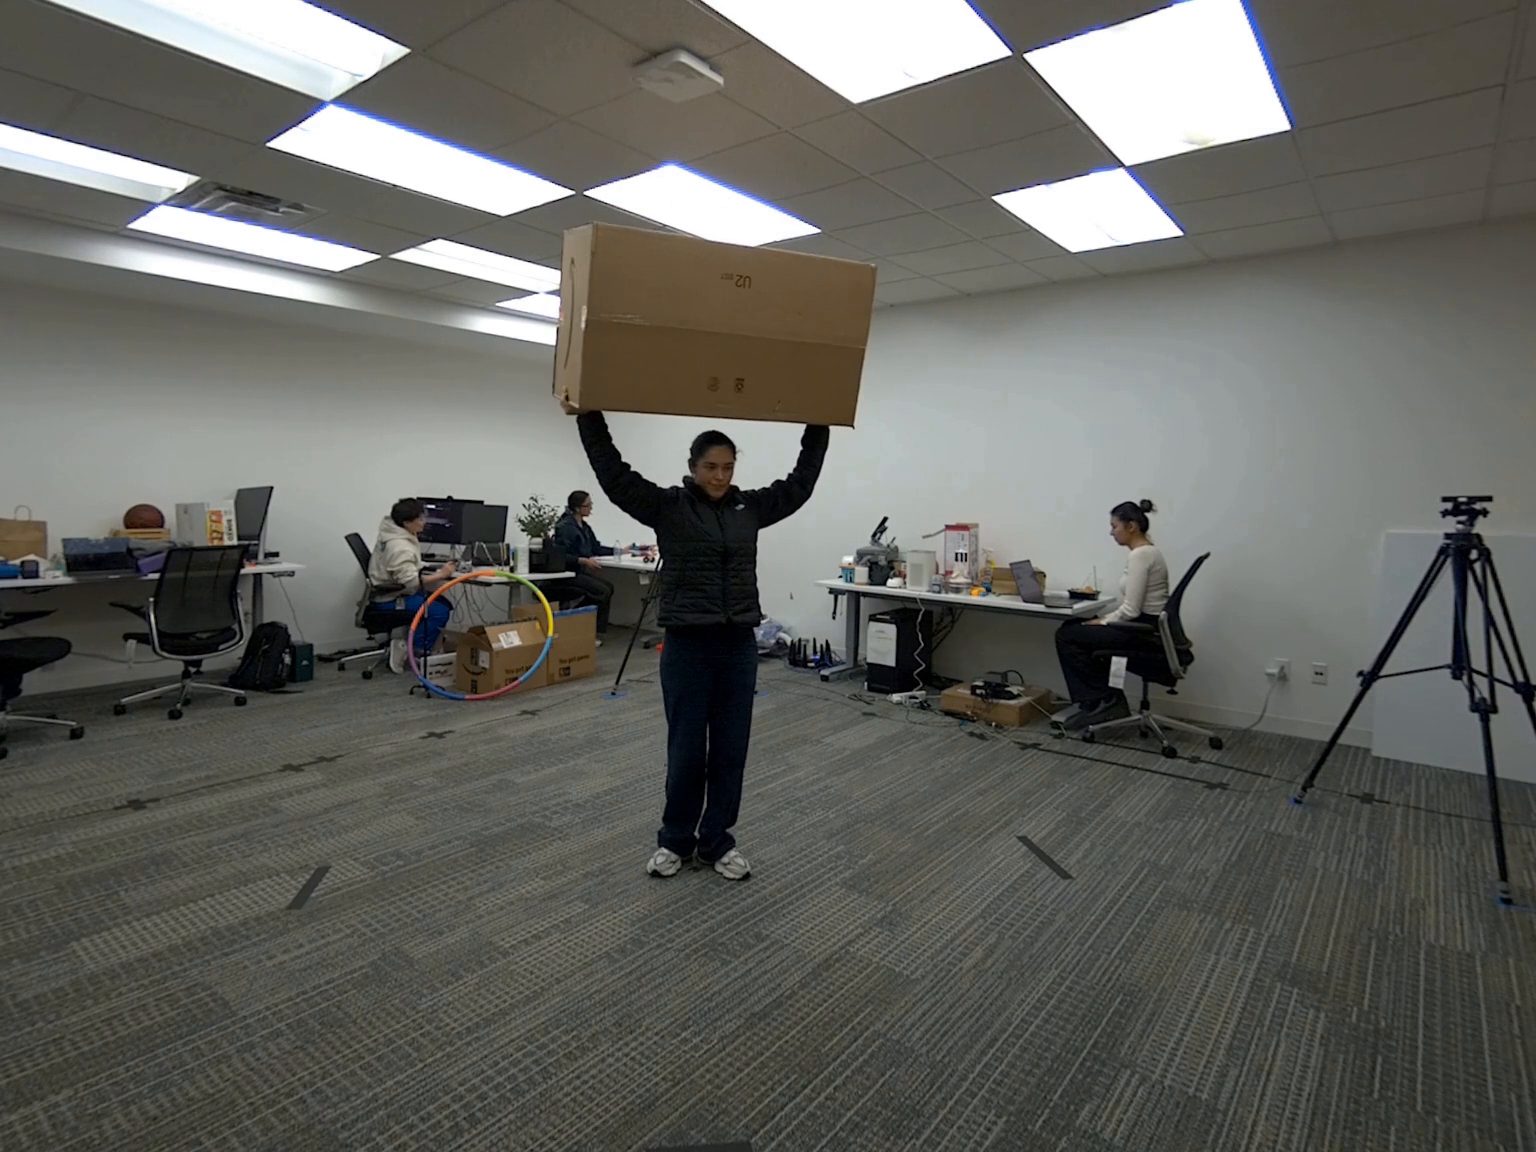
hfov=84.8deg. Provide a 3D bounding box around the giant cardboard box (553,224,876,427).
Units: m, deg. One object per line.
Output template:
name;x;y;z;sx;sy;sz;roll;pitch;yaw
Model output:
giant cardboard box;-0.186;-0.864;3.034;1.003;0.577;0.462;0;15;-24
